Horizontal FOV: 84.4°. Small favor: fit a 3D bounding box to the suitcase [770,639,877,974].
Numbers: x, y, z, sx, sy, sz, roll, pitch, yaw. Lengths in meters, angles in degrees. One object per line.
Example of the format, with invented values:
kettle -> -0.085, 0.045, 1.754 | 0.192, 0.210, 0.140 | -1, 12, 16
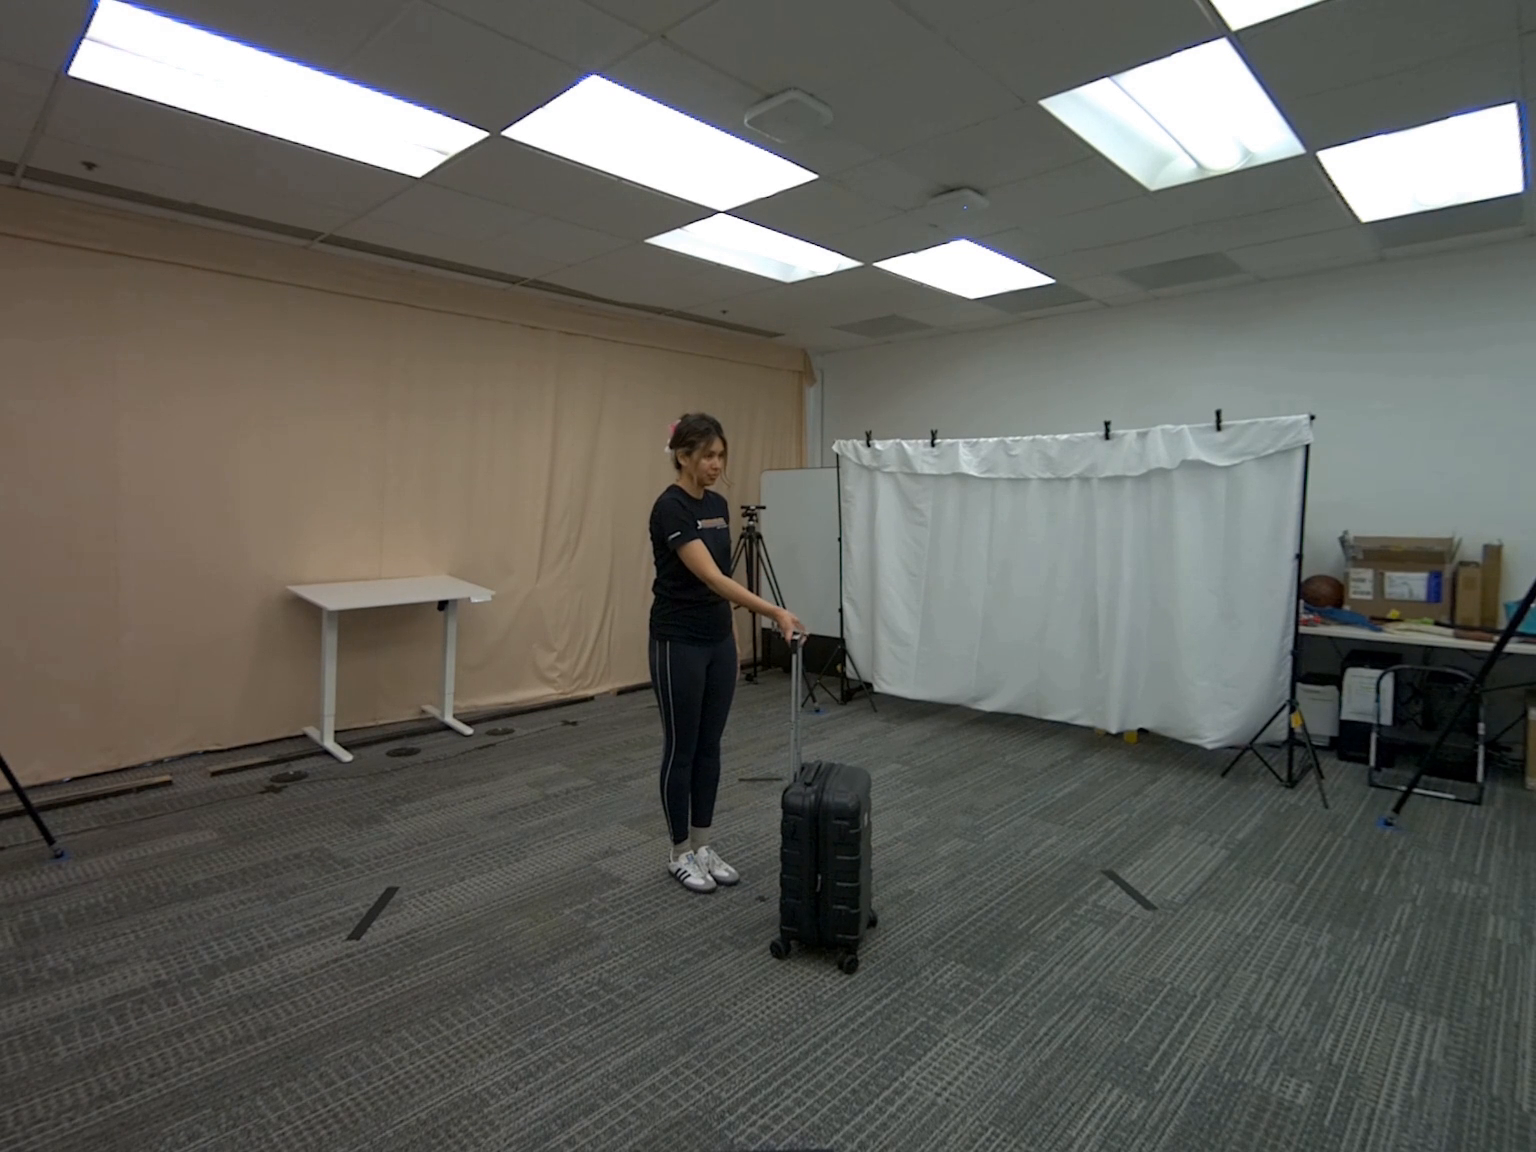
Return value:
suitcase -> 0.200, 0.695, 2.672 | 0.261, 0.976, 0.378 | 3, 4, 15
